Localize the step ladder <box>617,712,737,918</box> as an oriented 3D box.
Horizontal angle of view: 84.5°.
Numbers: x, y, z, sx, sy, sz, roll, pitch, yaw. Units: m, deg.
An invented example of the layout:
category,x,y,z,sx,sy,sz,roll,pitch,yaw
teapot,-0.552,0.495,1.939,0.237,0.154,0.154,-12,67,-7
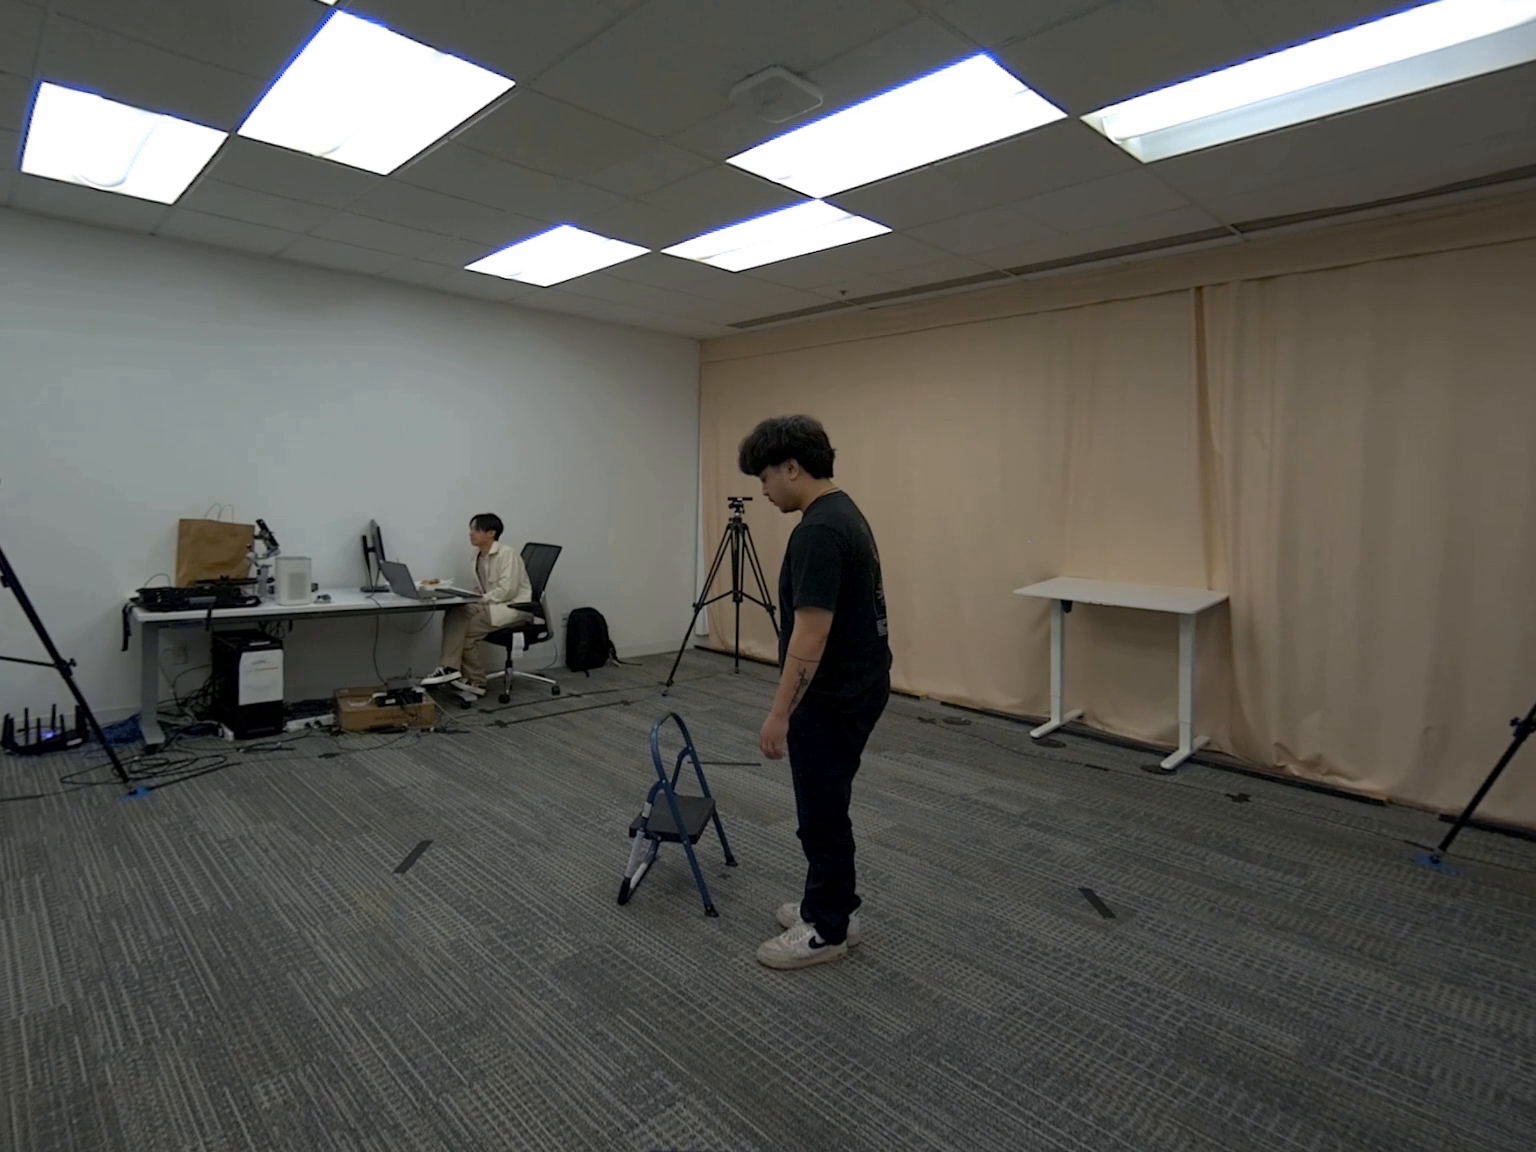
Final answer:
category,x,y,z,sx,sy,sz,roll,pitch,yaw
step ladder,-0.318,0.812,3.022,0.352,0.604,0.429,2,4,8
